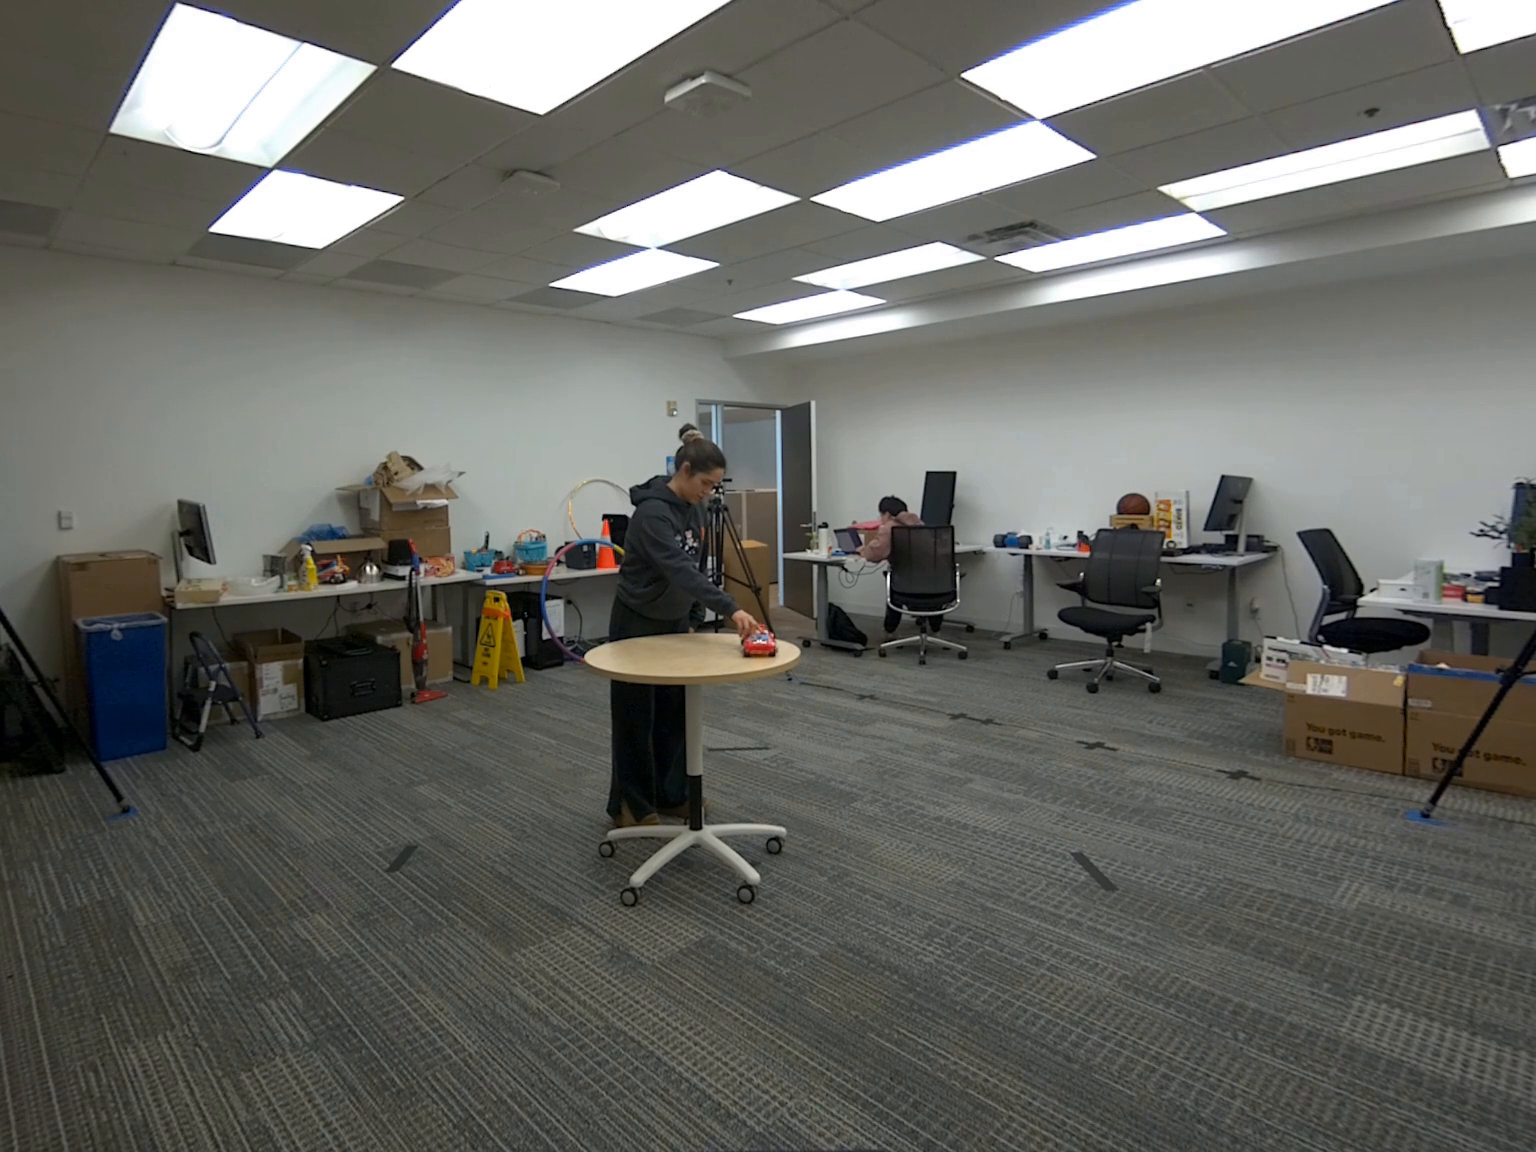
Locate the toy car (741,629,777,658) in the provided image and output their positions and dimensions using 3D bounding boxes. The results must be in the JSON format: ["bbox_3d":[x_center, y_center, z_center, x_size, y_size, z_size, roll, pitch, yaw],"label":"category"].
[{"bbox_3d":[-0.032,0.237,3.035,0.130,0.082,0.258,-1,17,0],"label":"toy car"}]
